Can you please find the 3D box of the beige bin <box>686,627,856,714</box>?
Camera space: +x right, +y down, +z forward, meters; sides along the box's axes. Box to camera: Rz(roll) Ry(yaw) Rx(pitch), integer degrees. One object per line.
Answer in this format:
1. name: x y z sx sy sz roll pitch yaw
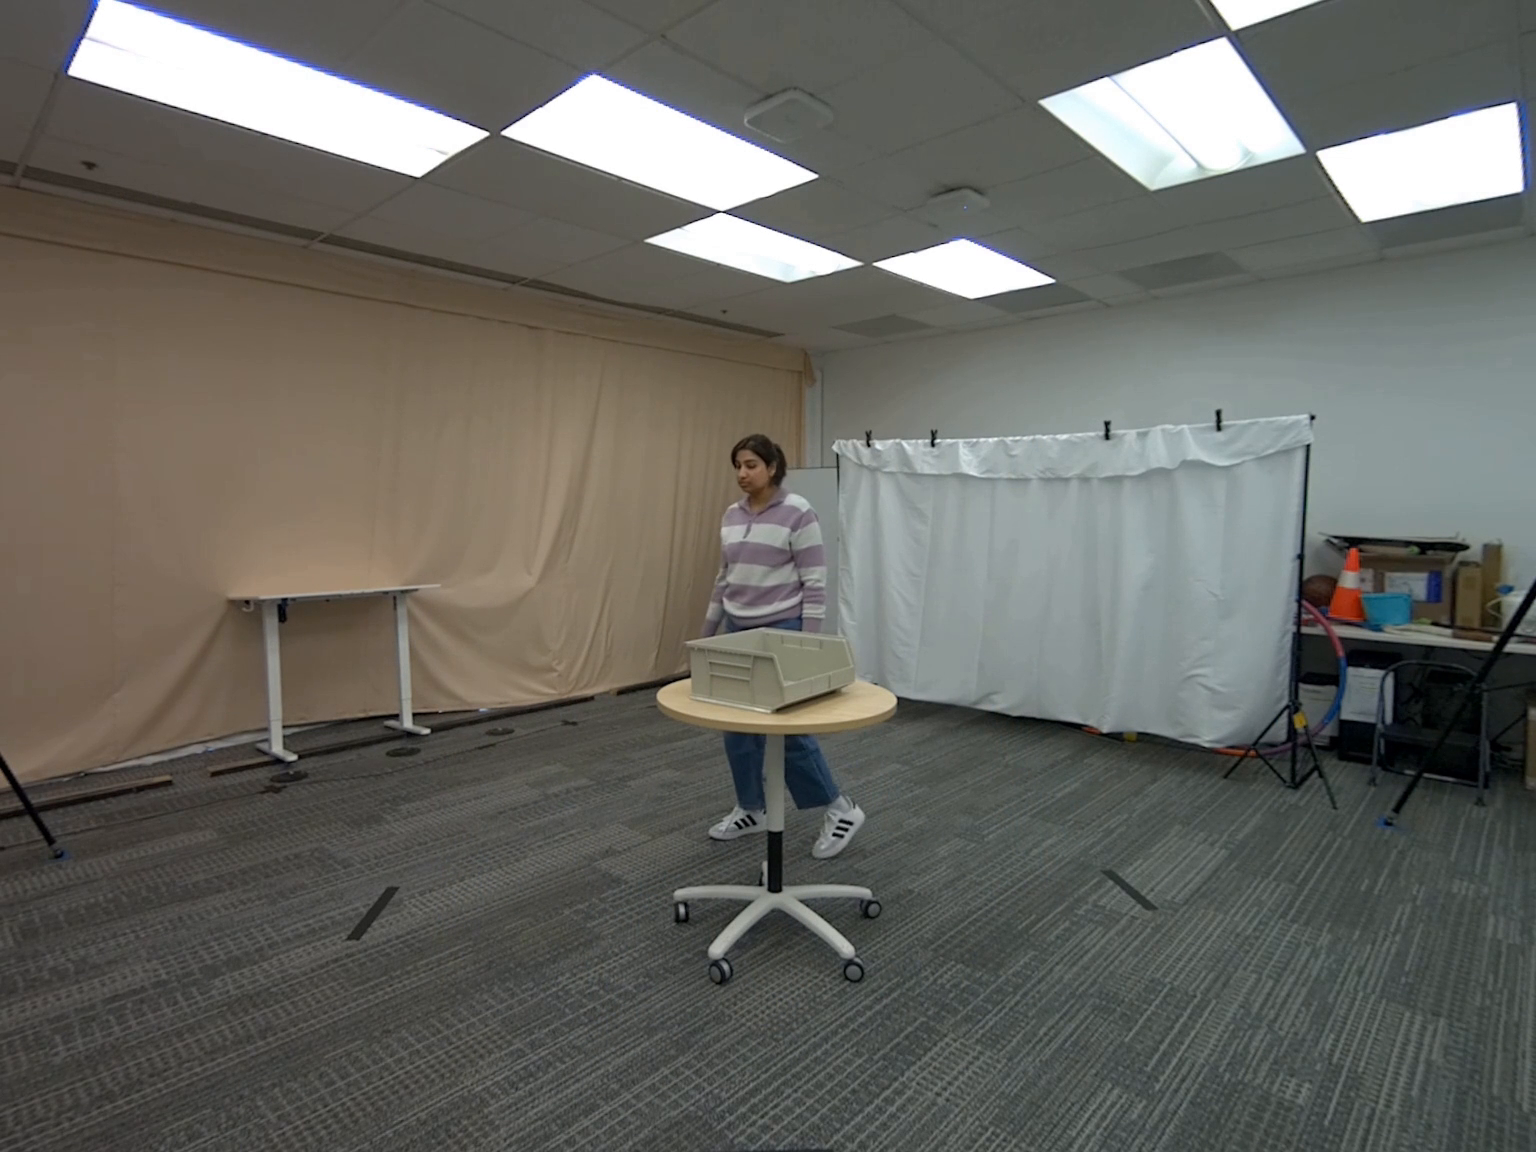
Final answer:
1. beige bin: 0.010 0.294 2.690 0.389 0.188 0.410 1 4 37
